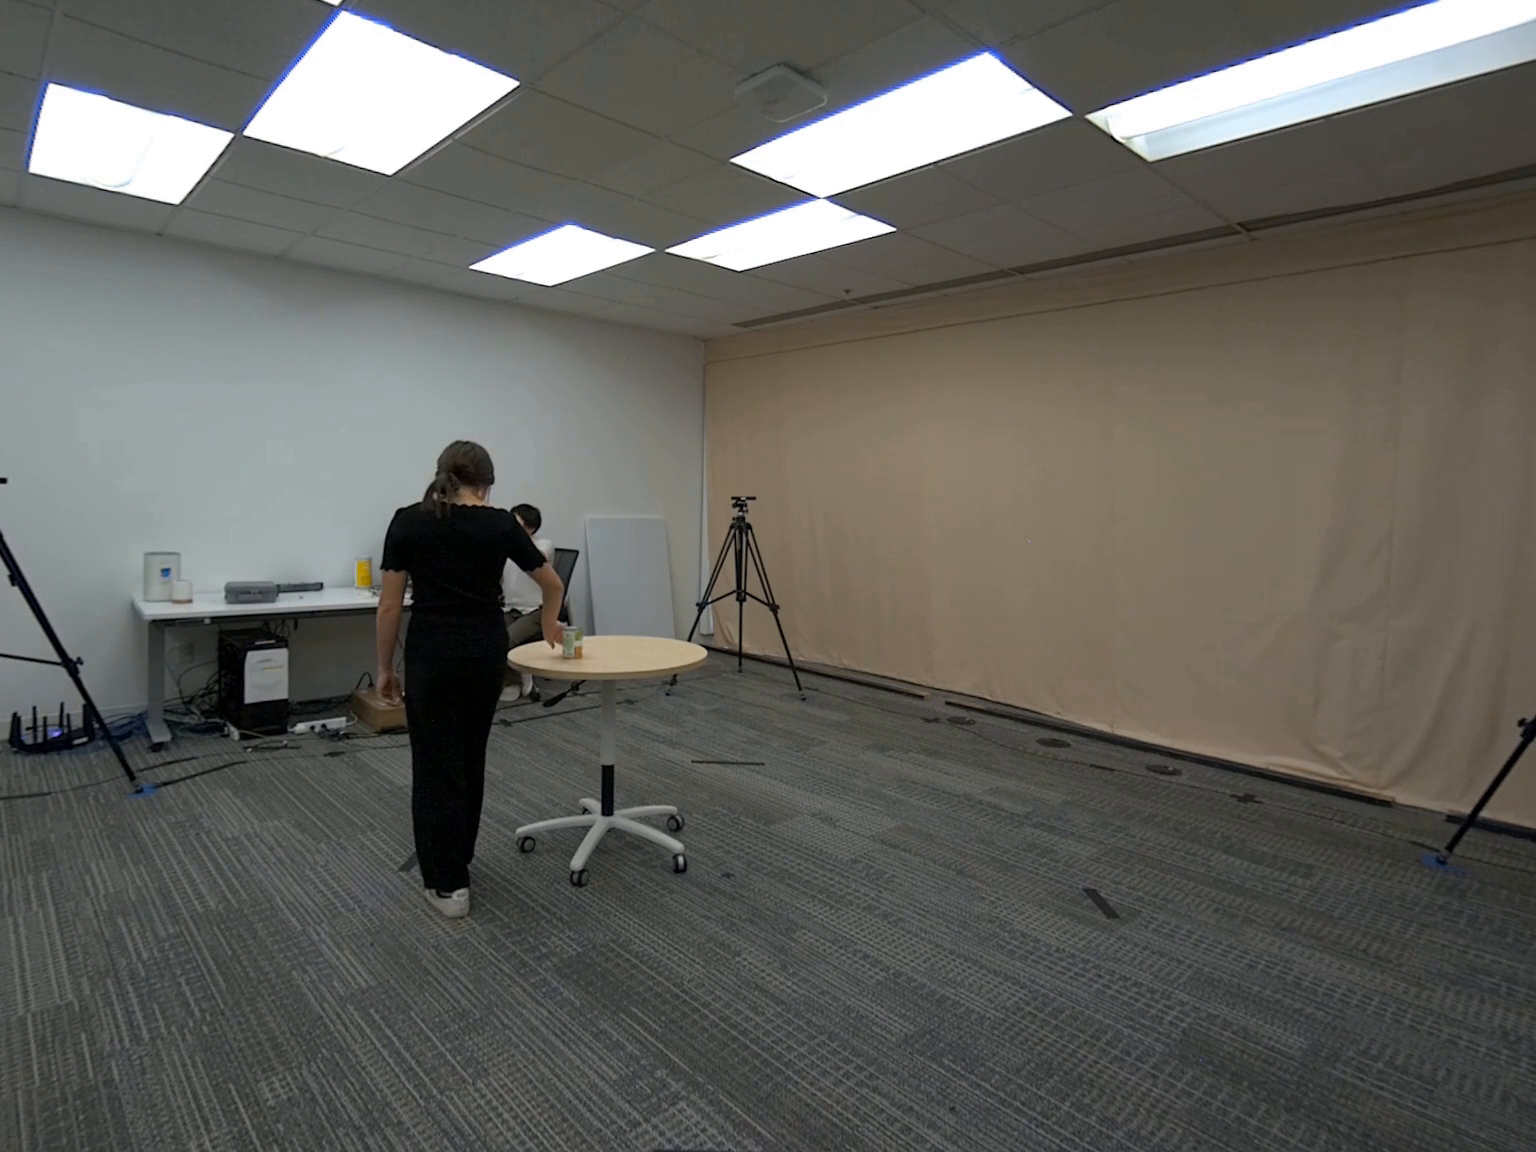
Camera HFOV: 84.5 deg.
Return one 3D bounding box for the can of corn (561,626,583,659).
[{"bbox_3d":[-0.740,0.252,3.138,0.074,0.111,0.074,-3,1,-1],"label":"can of corn"}]
